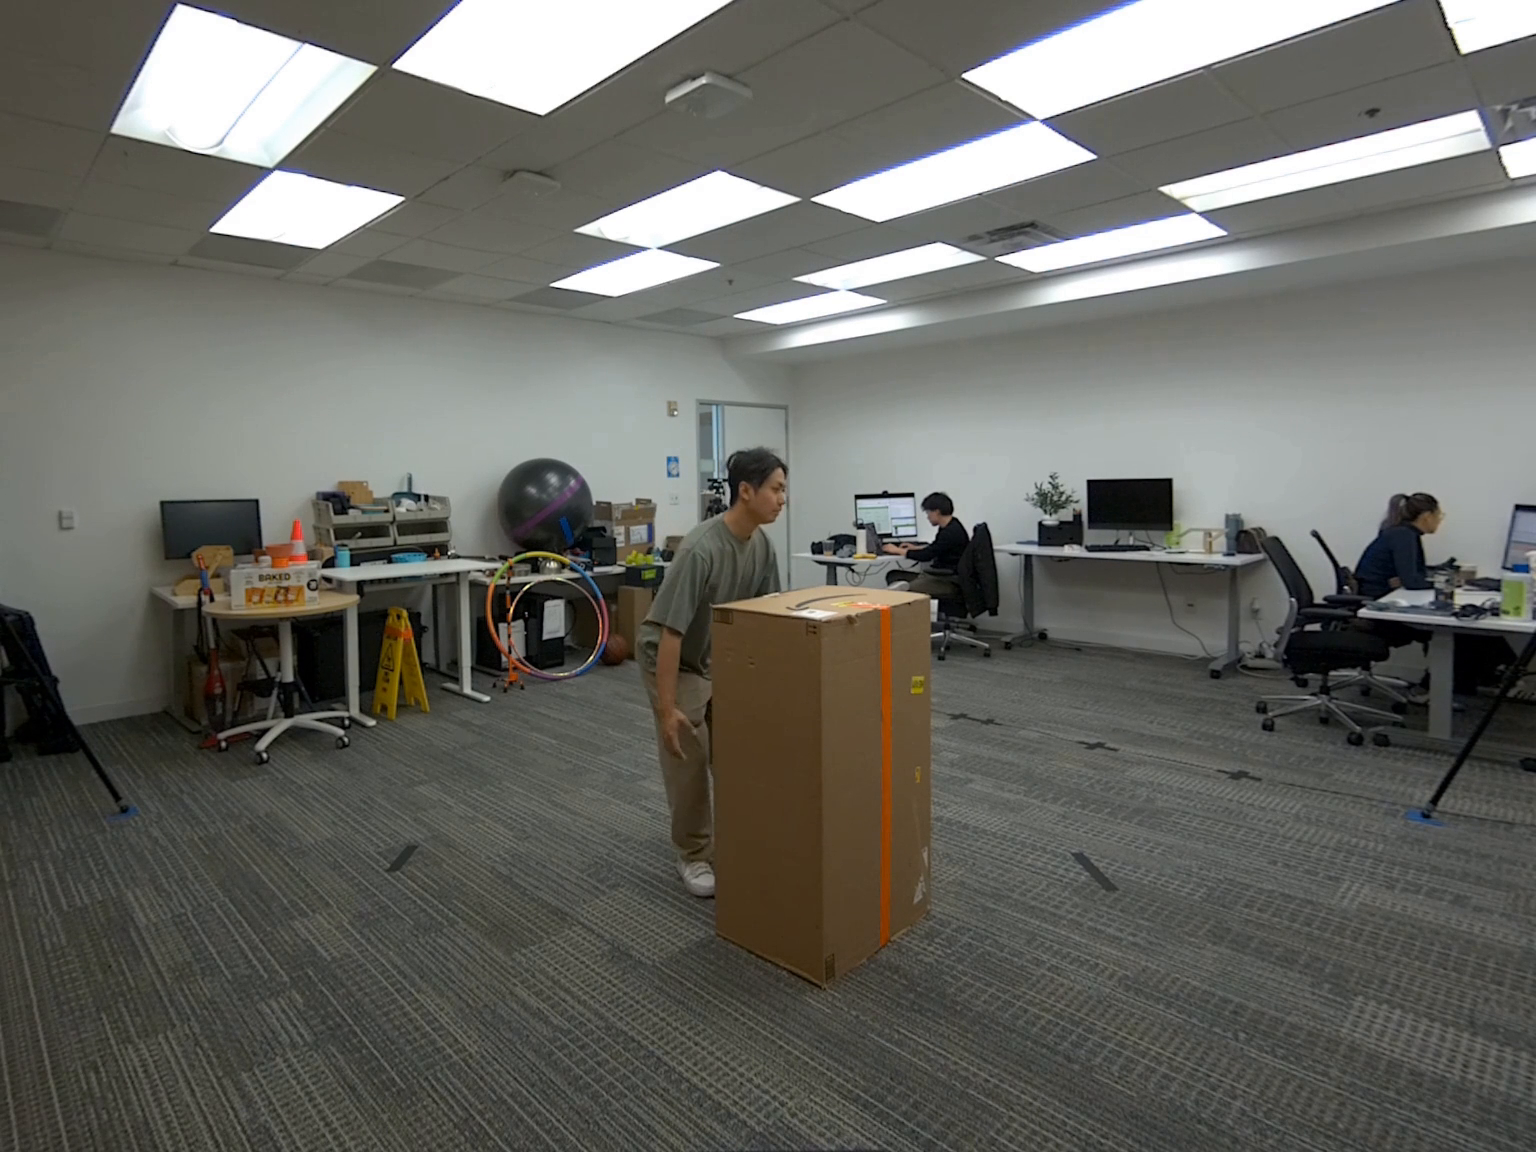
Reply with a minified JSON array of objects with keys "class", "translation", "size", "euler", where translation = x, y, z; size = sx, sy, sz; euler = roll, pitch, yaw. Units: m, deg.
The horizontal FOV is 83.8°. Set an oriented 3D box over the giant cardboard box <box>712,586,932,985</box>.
[{"class":"giant cardboard box","translation":[0.182,0.585,2.647],"size":[0.439,1.022,0.562],"euler":[2,5,42]}]
